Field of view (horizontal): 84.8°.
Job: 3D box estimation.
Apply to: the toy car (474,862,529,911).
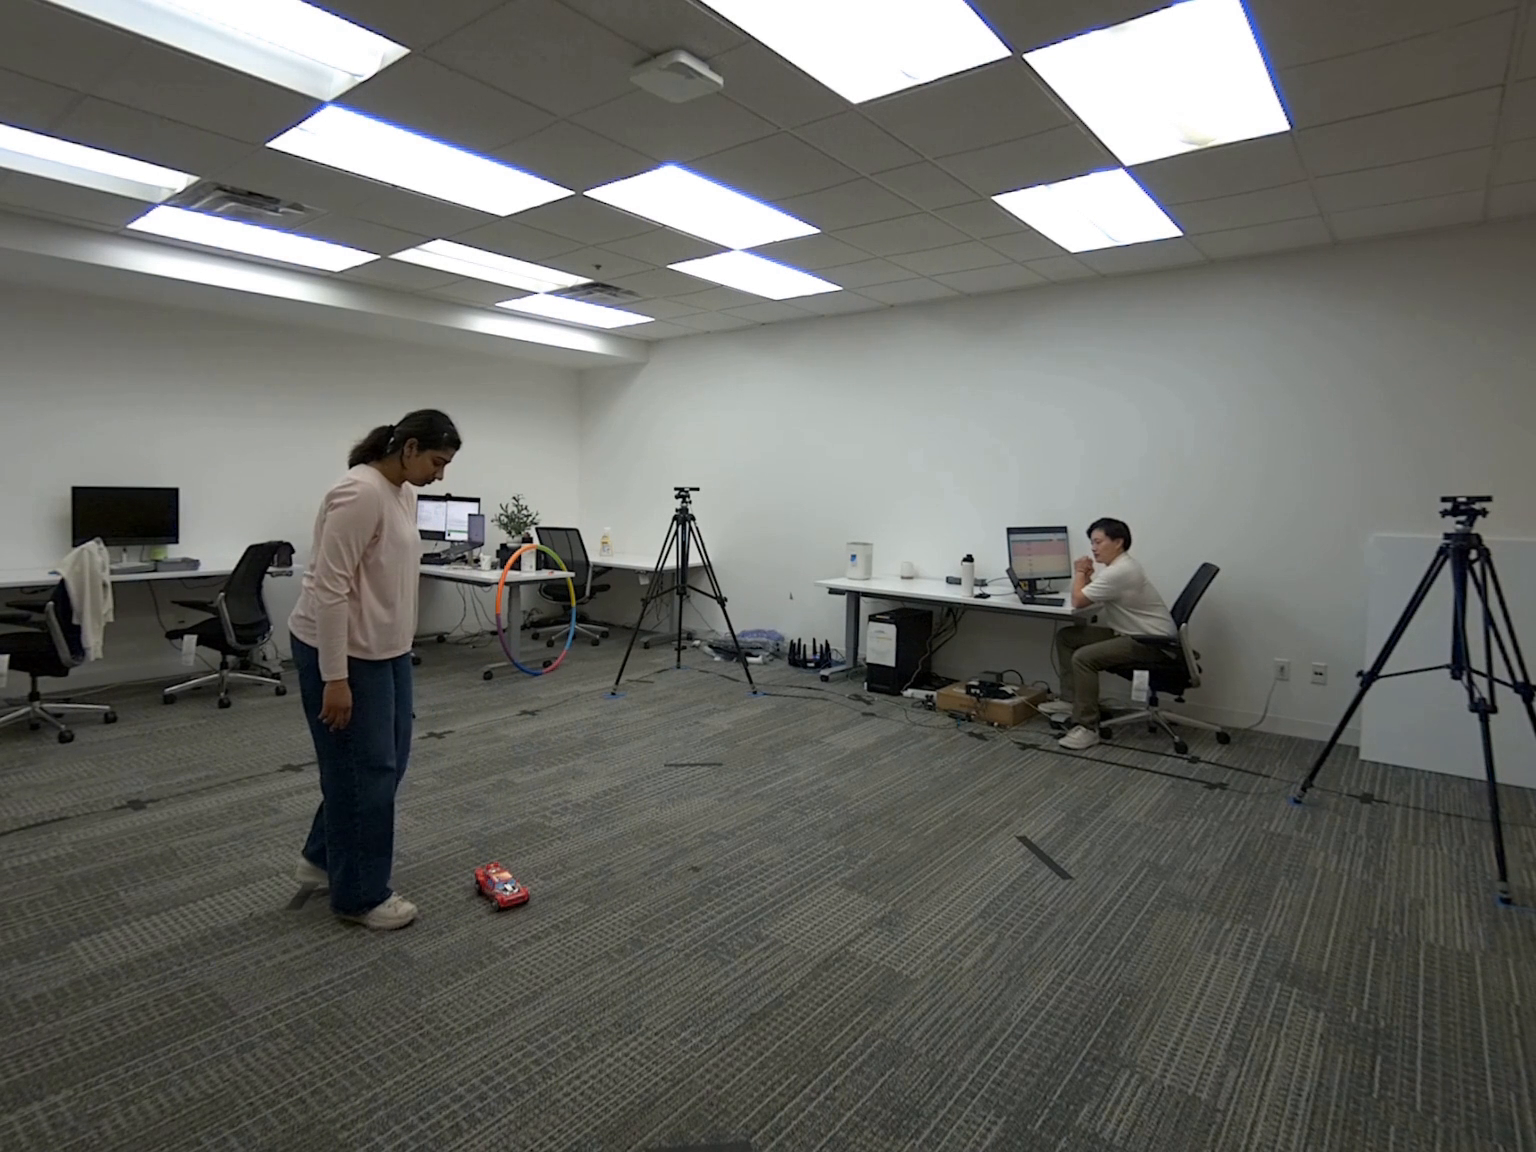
[{"bbox_3d":[-0.920,1.053,2.872,0.126,0.082,0.265,-4,18,-39],"label":"toy car"}]
